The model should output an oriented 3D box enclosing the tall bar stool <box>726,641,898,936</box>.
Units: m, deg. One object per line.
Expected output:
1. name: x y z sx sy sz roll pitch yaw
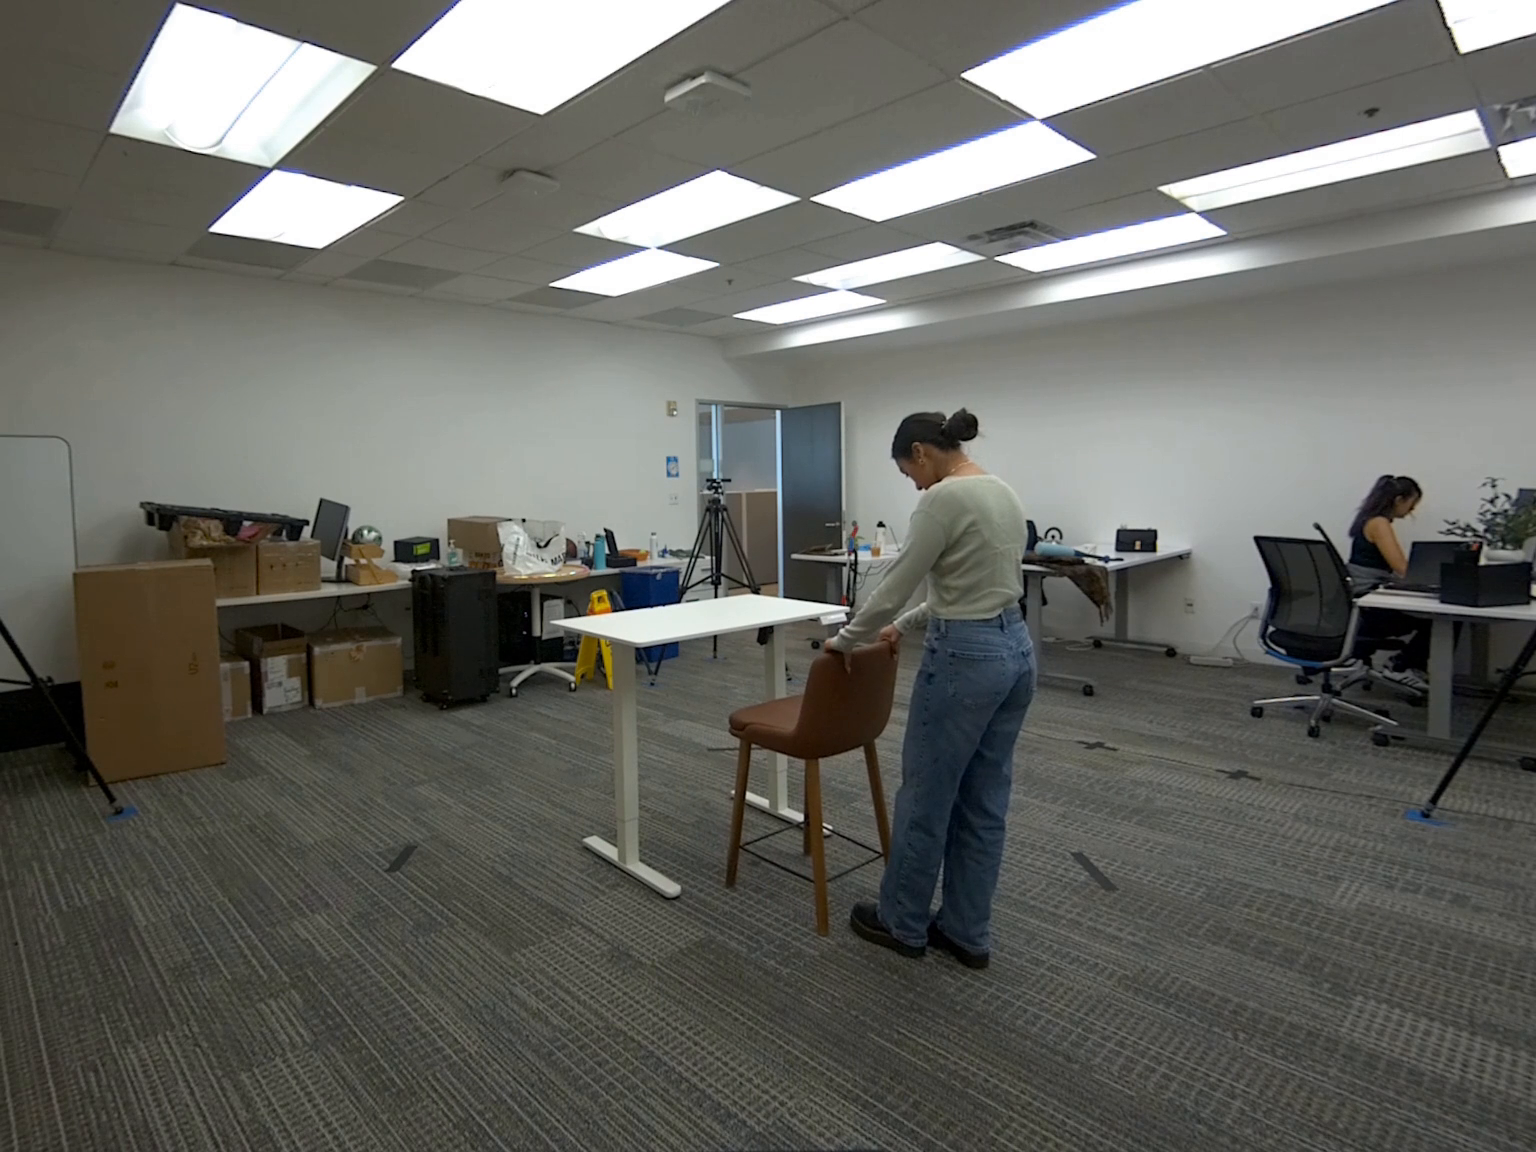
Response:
1. tall bar stool: 0.157 0.628 2.852 0.444 0.885 0.482 -5 8 -41
